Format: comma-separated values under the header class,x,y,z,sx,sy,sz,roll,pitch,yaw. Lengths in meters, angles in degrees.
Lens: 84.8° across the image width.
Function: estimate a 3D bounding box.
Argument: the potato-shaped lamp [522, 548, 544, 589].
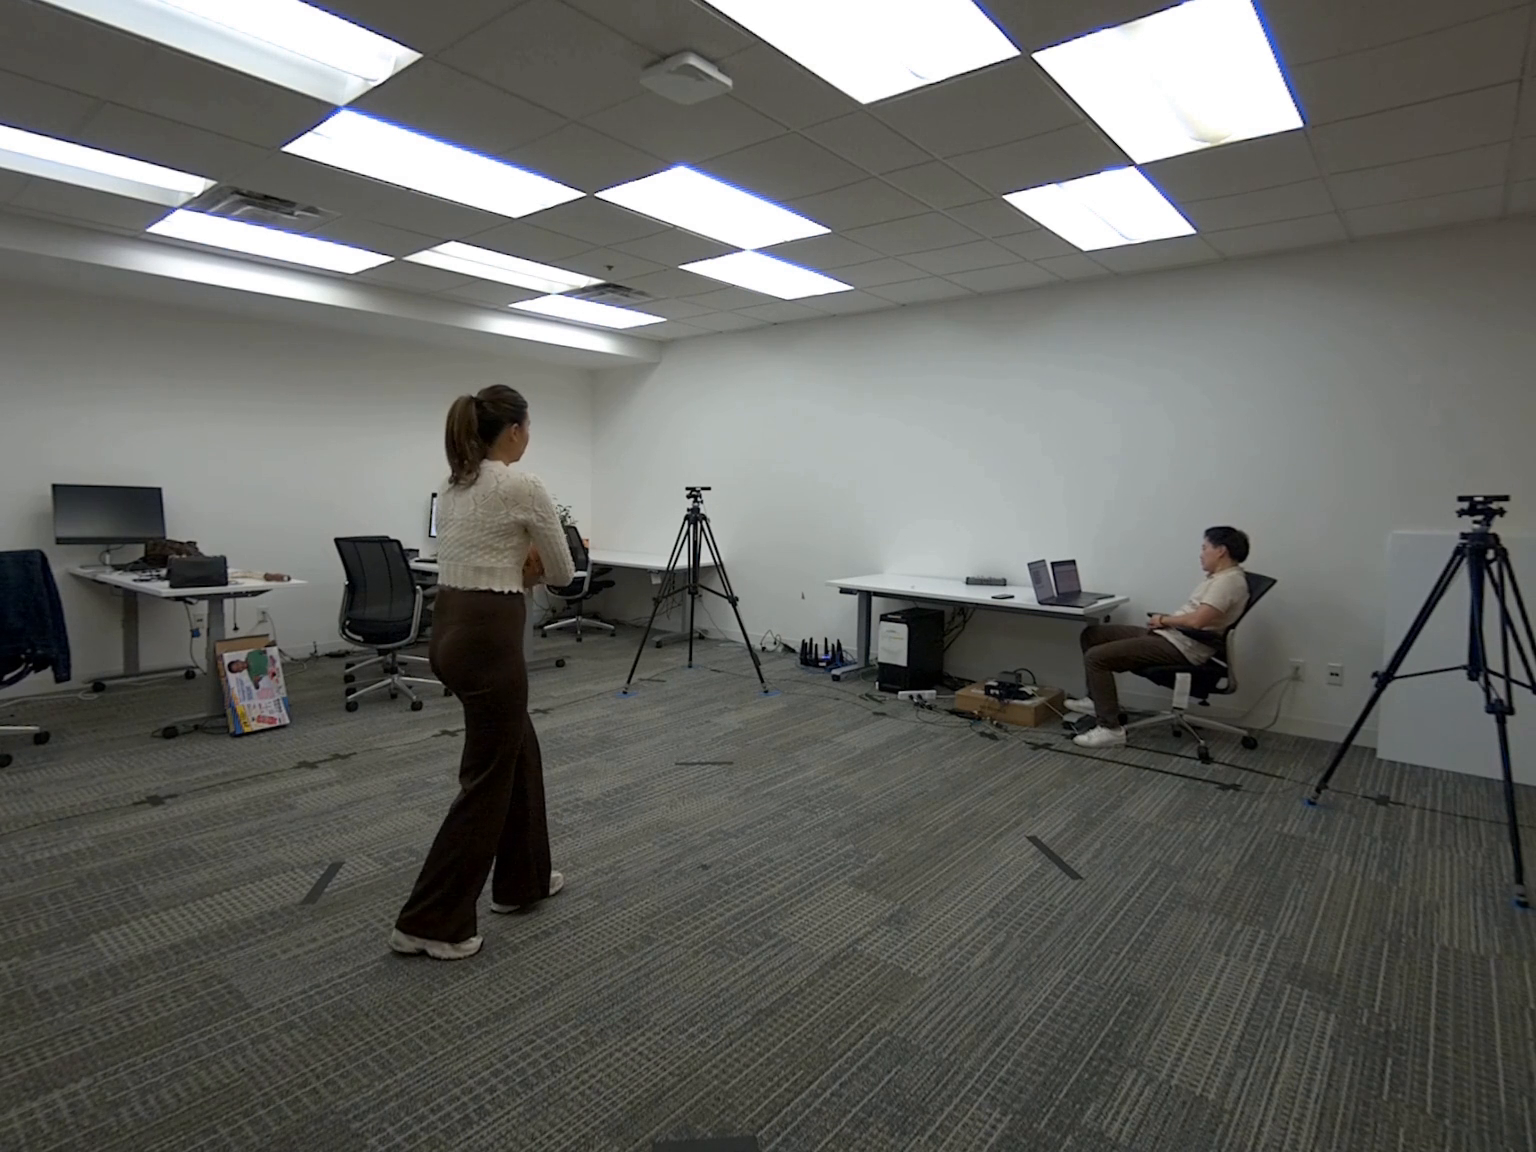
class,x,y,z,sx,sy,sz,roll,pitch,yaw
potato-shaped lamp,-0.811,-0.110,2.802,0.201,0.176,0.158,-24,-36,35
